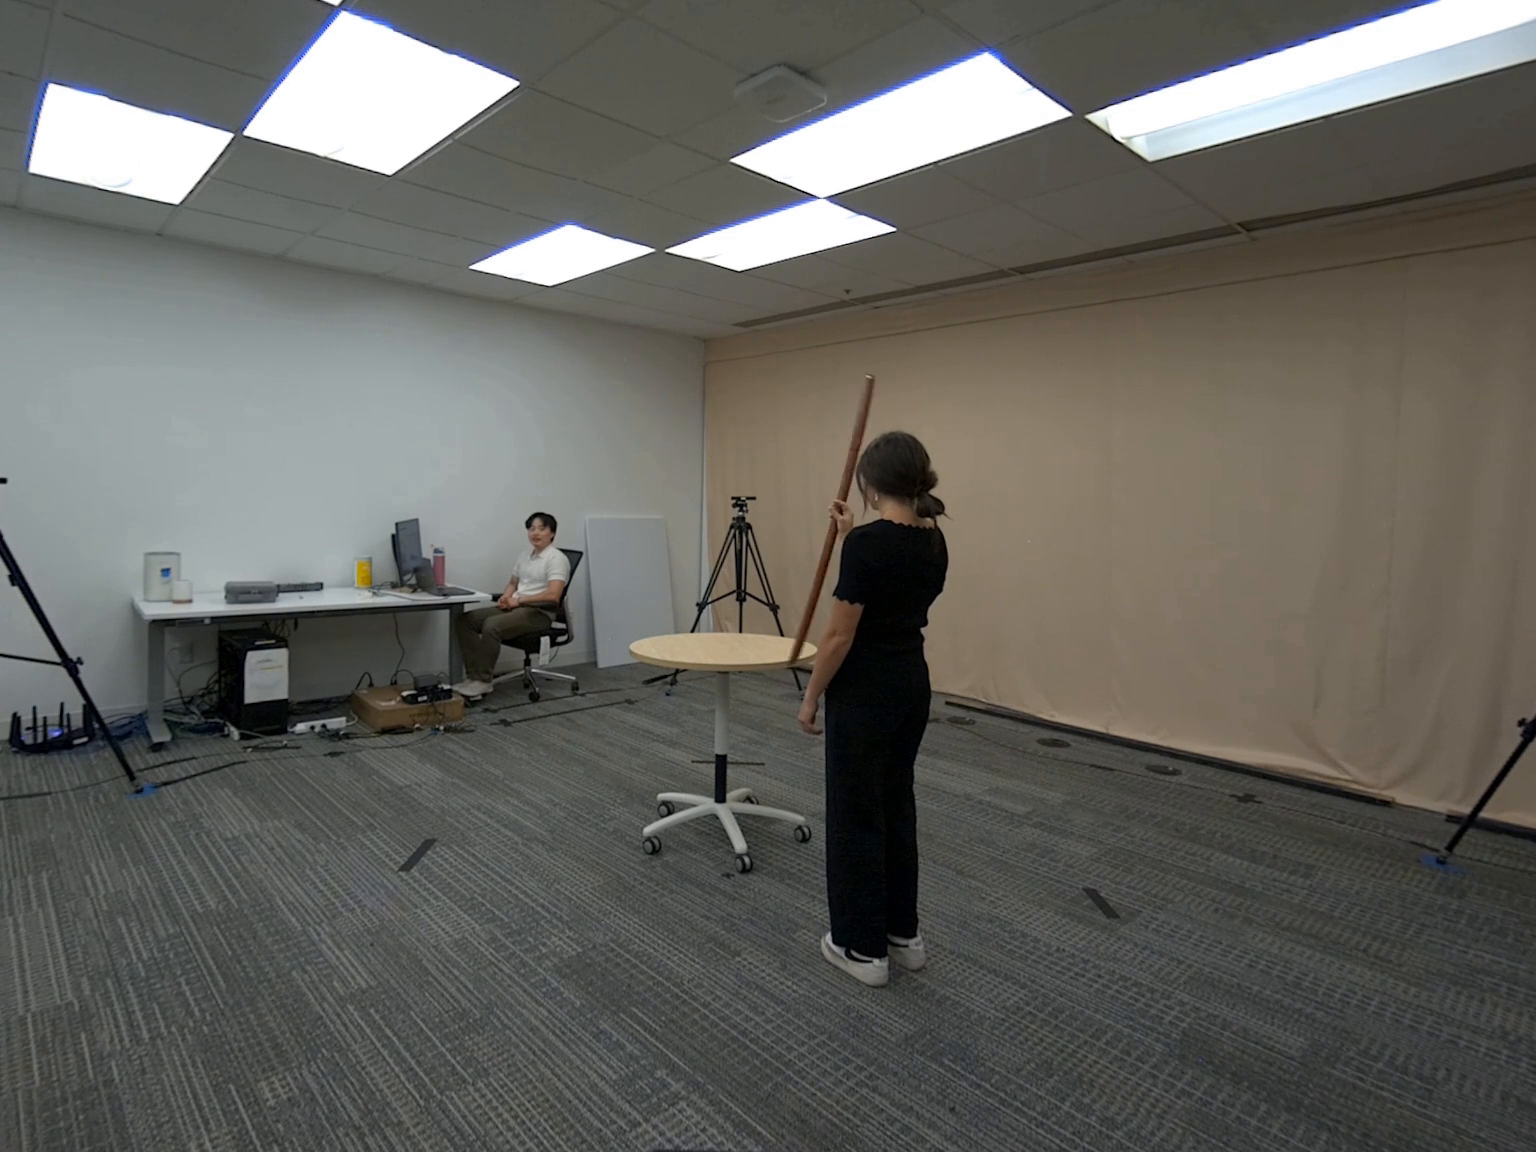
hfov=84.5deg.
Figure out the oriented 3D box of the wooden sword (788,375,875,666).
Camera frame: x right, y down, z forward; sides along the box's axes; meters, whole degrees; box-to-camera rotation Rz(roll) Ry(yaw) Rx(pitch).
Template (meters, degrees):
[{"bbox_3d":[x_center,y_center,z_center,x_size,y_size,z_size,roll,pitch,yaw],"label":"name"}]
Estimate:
[{"bbox_3d":[0.223,-0.199,2.824,0.050,1.028,0.025,23,-8,-43],"label":"wooden sword"}]
